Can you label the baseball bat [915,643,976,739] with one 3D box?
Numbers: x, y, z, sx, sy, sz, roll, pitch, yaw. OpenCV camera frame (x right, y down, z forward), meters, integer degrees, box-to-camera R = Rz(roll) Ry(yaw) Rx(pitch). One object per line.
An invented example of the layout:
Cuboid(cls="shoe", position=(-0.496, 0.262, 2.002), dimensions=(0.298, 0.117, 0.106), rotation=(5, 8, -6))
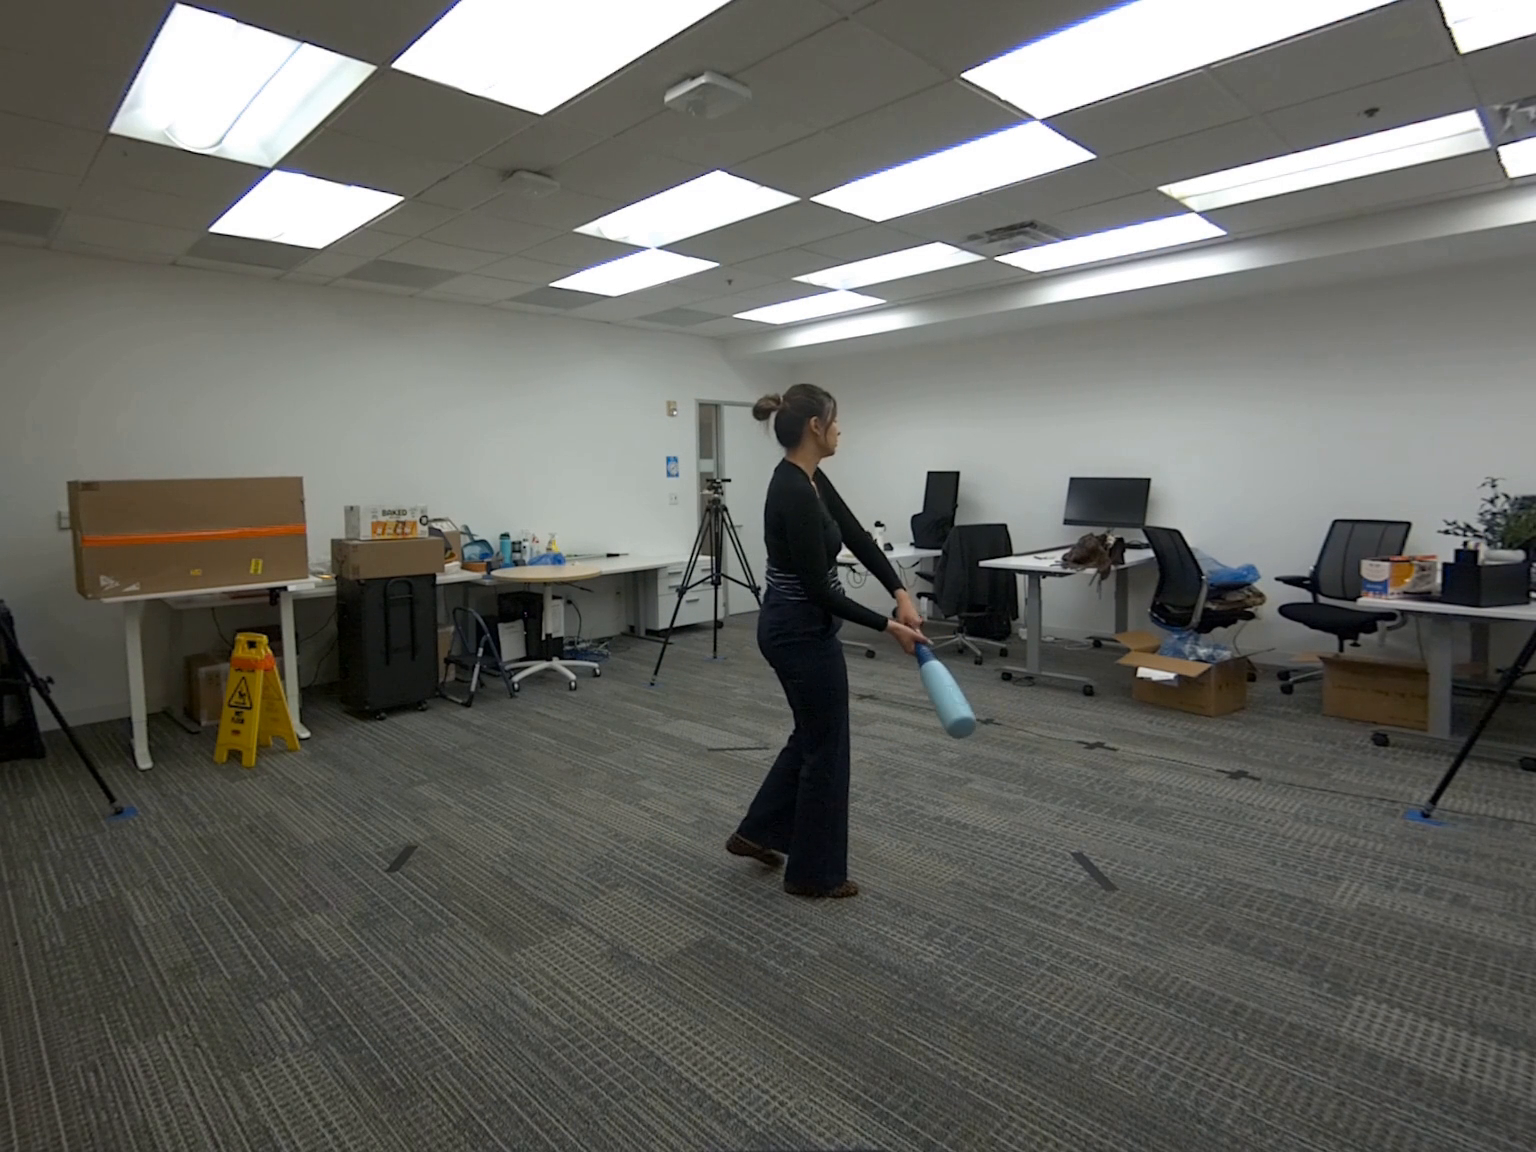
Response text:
Cuboid(cls="baseball bat", position=(0.467, 0.257, 2.525), dimensions=(0.088, 0.087, 0.561), rotation=(-3, 32, -15))
